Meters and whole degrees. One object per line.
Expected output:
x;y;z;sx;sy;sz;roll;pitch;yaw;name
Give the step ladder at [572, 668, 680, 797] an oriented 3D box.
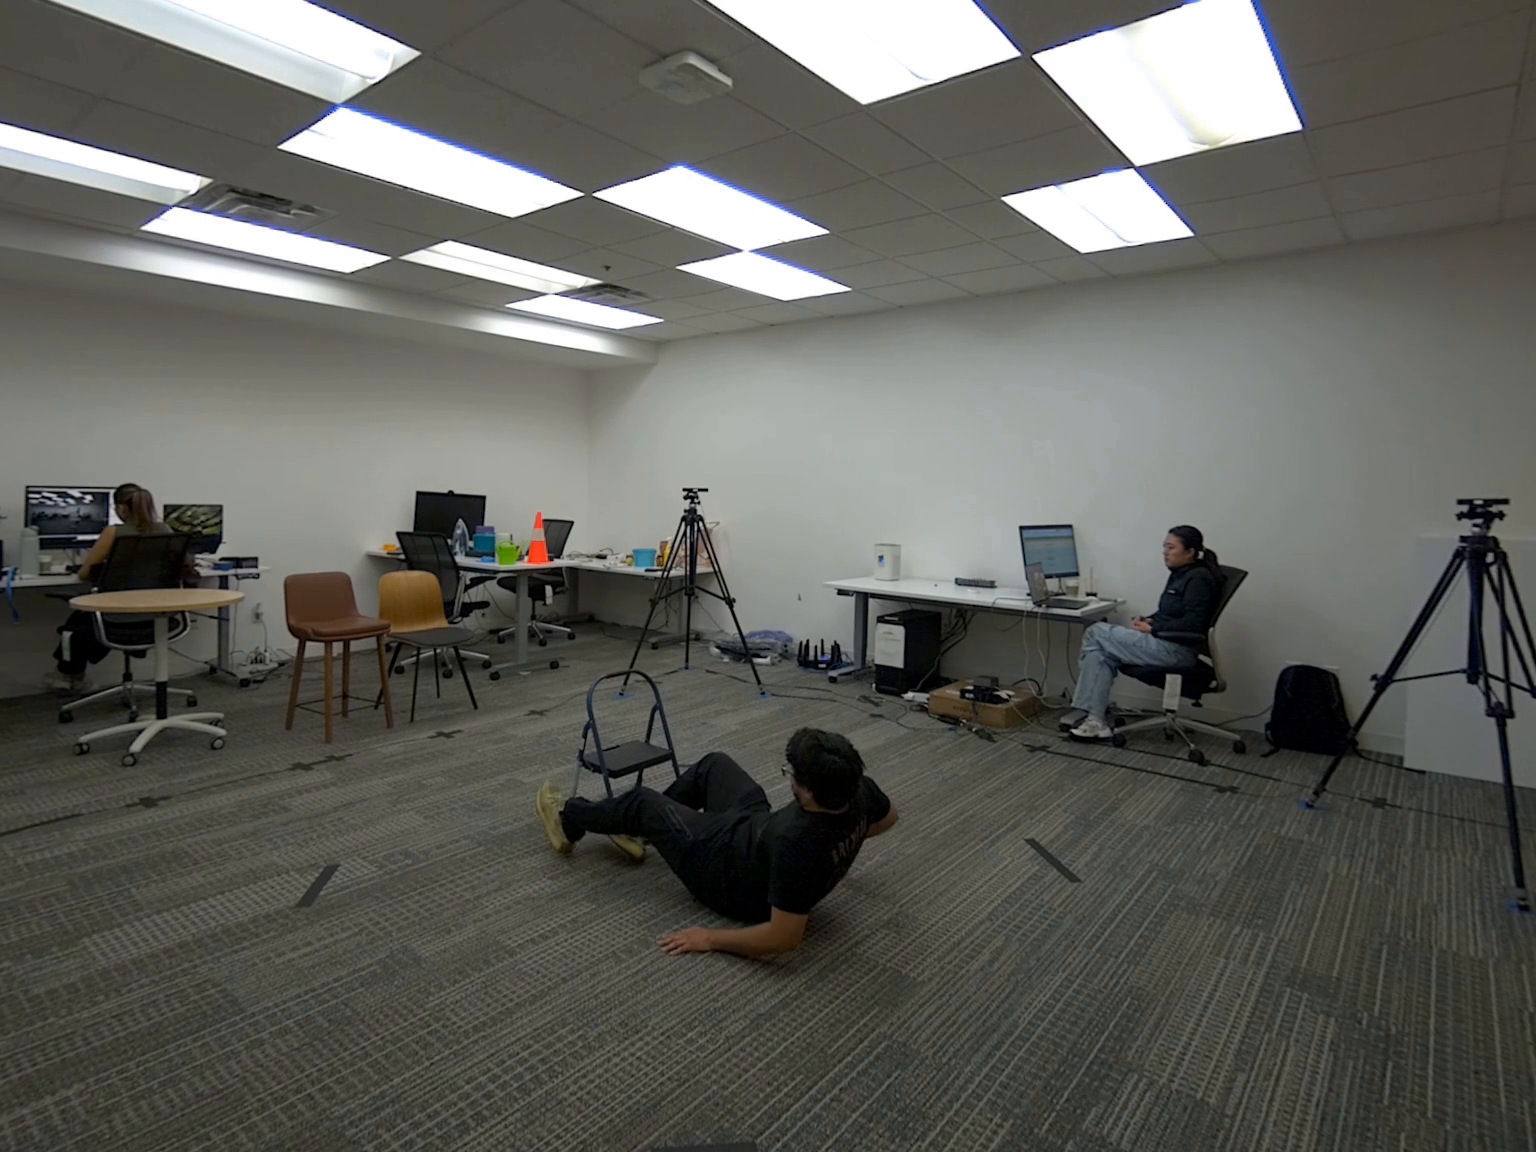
-0.596;0.712;3.600;0.361;0.605;0.418;3;3;38;step ladder
